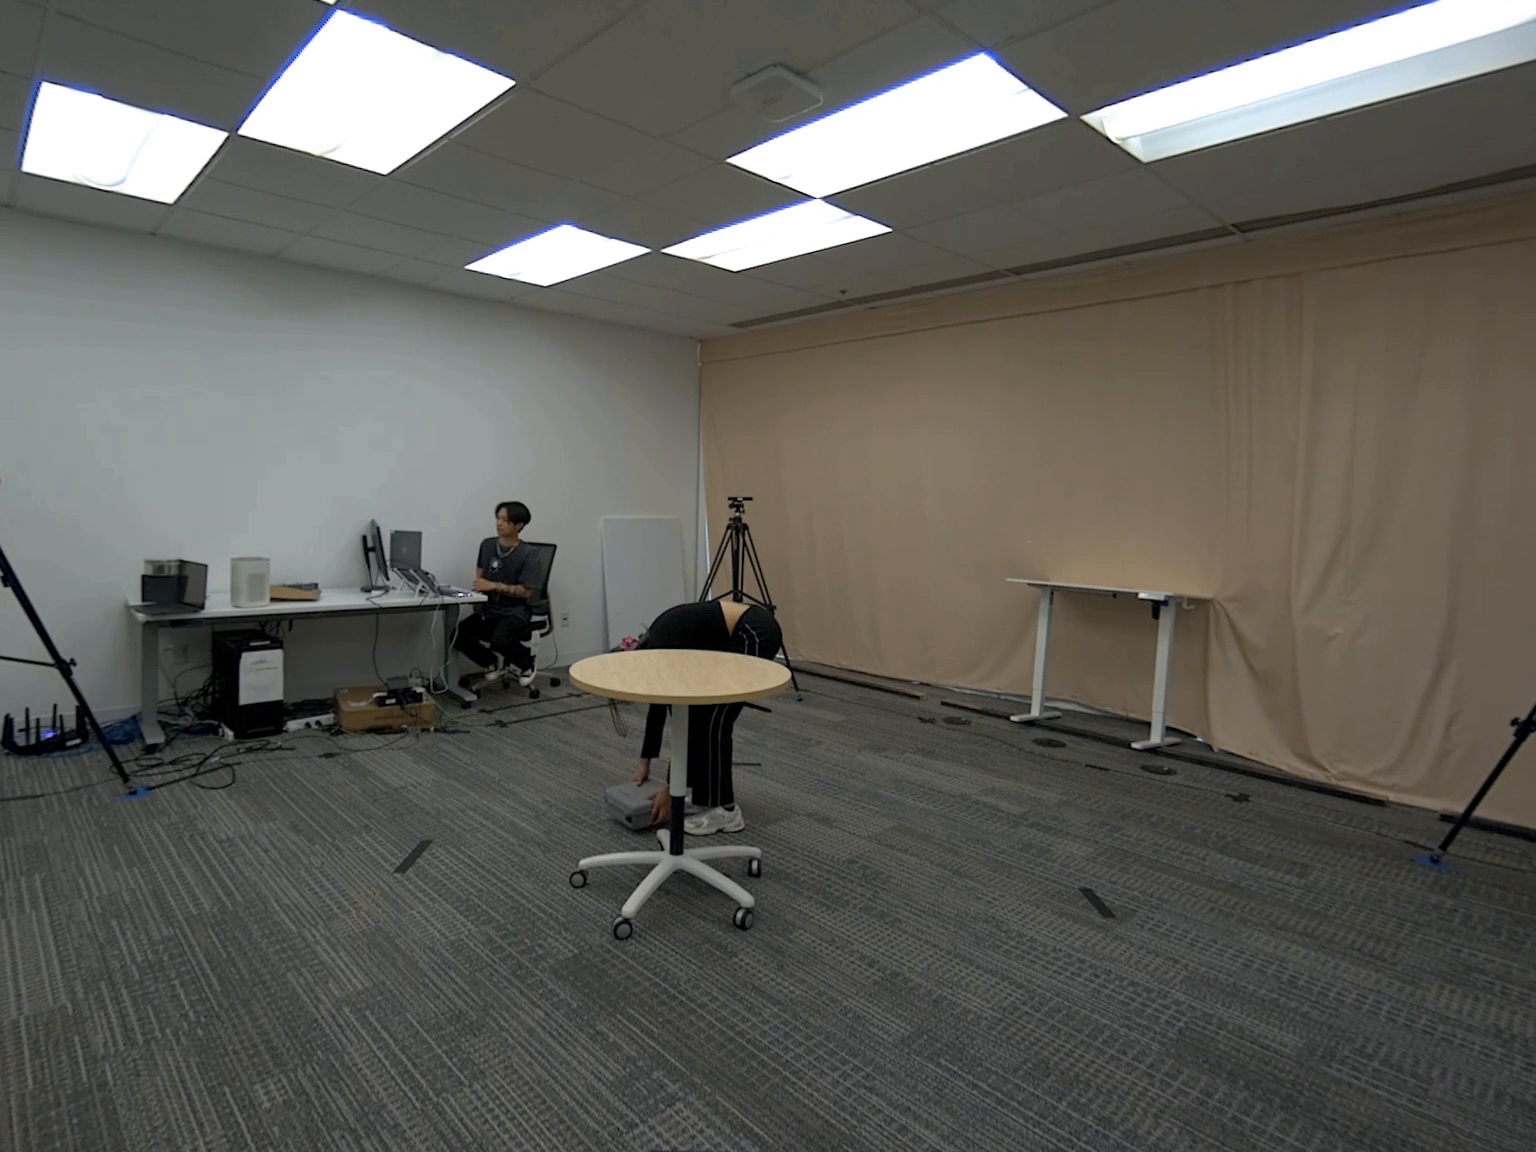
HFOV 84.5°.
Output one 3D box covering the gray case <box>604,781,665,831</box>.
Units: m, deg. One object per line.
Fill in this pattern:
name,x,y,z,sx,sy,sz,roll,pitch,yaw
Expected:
gray case,-0.545,0.963,3.592,0.255,0.104,0.263,-5,8,-40
